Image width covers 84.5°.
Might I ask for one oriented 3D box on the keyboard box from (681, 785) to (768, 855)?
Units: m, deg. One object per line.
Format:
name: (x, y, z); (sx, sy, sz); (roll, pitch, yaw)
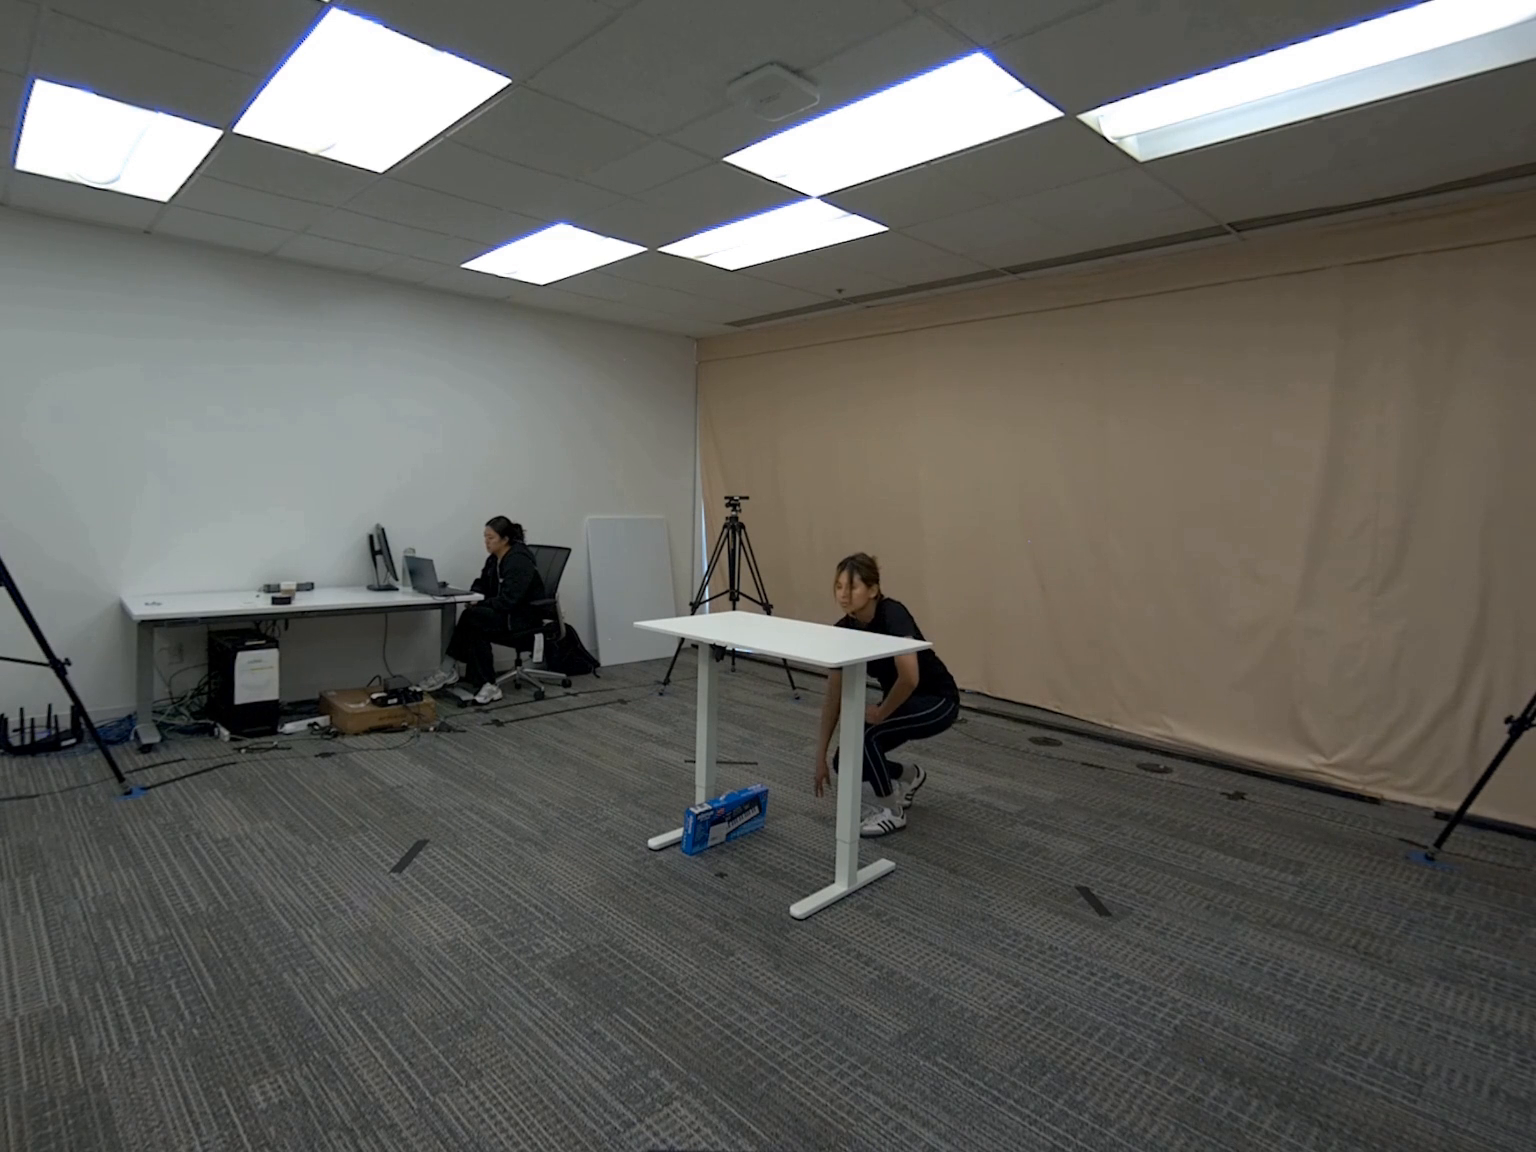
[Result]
keyboard box: (-0.182, 0.987, 3.428); (0.061, 0.175, 0.427); (15, 12, 40)
